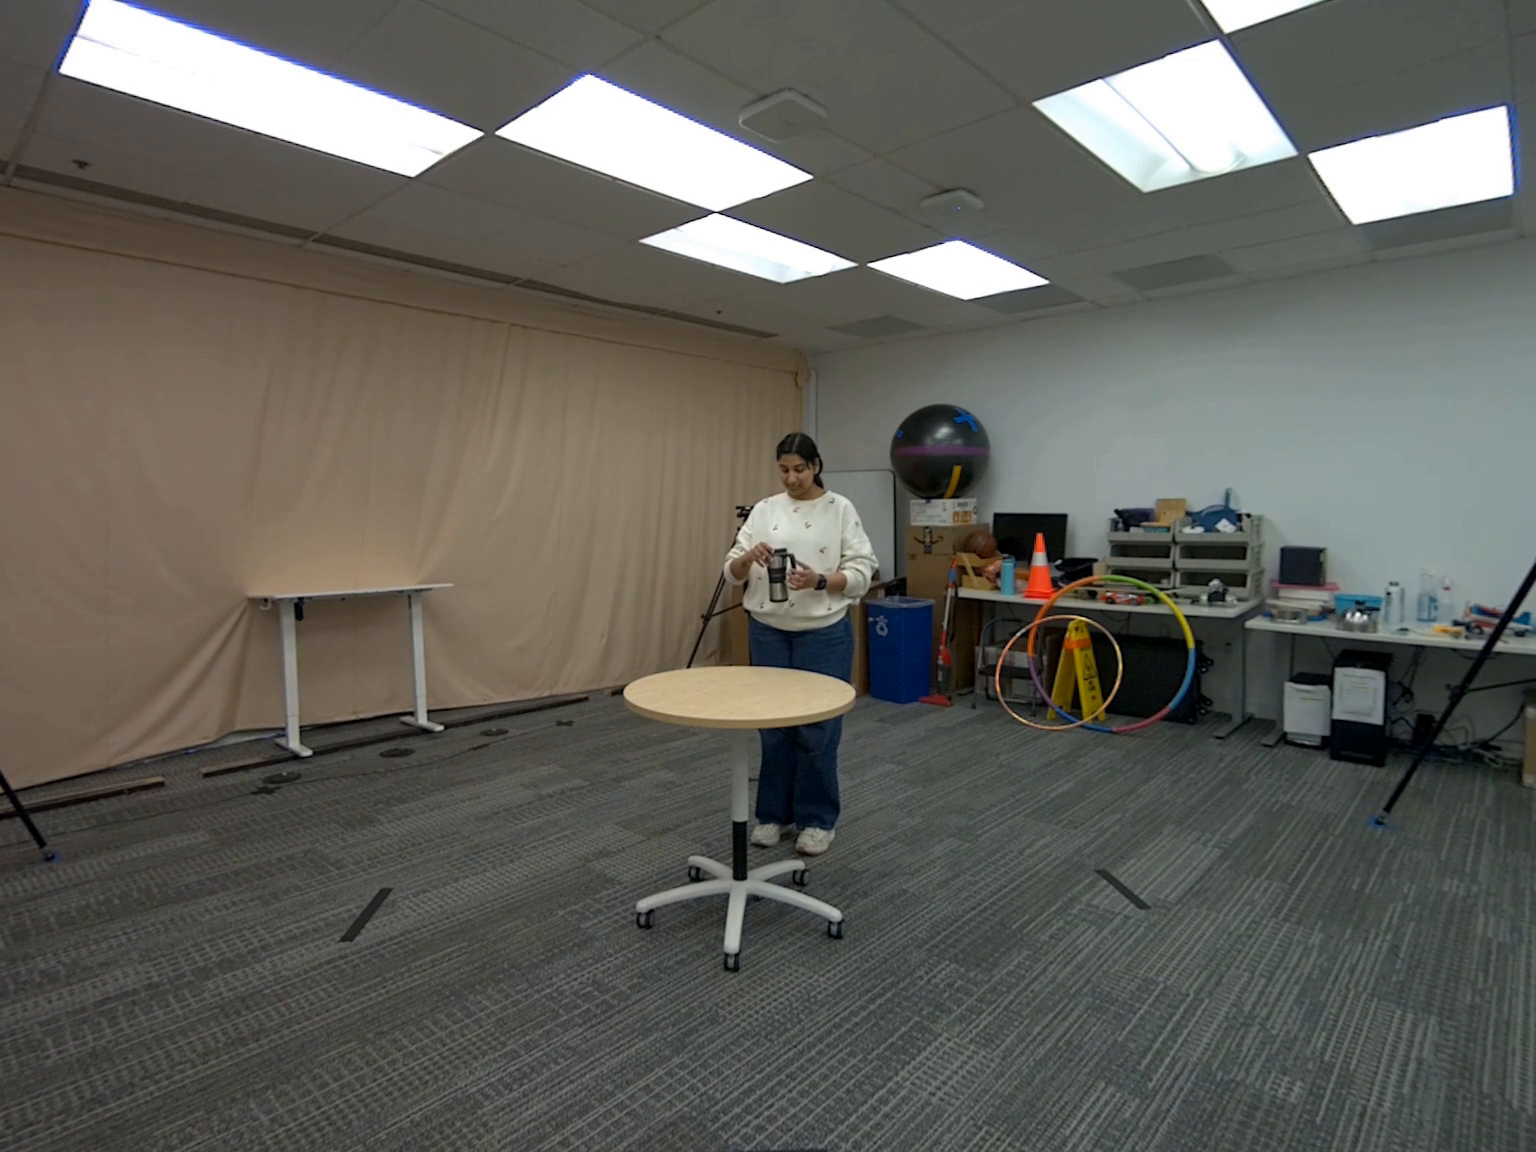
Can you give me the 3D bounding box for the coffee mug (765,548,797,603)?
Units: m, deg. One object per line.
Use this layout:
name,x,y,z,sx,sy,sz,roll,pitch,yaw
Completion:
coffee mug,0.049,-0.002,3.176,0.086,0.203,0.125,-9,2,-25
